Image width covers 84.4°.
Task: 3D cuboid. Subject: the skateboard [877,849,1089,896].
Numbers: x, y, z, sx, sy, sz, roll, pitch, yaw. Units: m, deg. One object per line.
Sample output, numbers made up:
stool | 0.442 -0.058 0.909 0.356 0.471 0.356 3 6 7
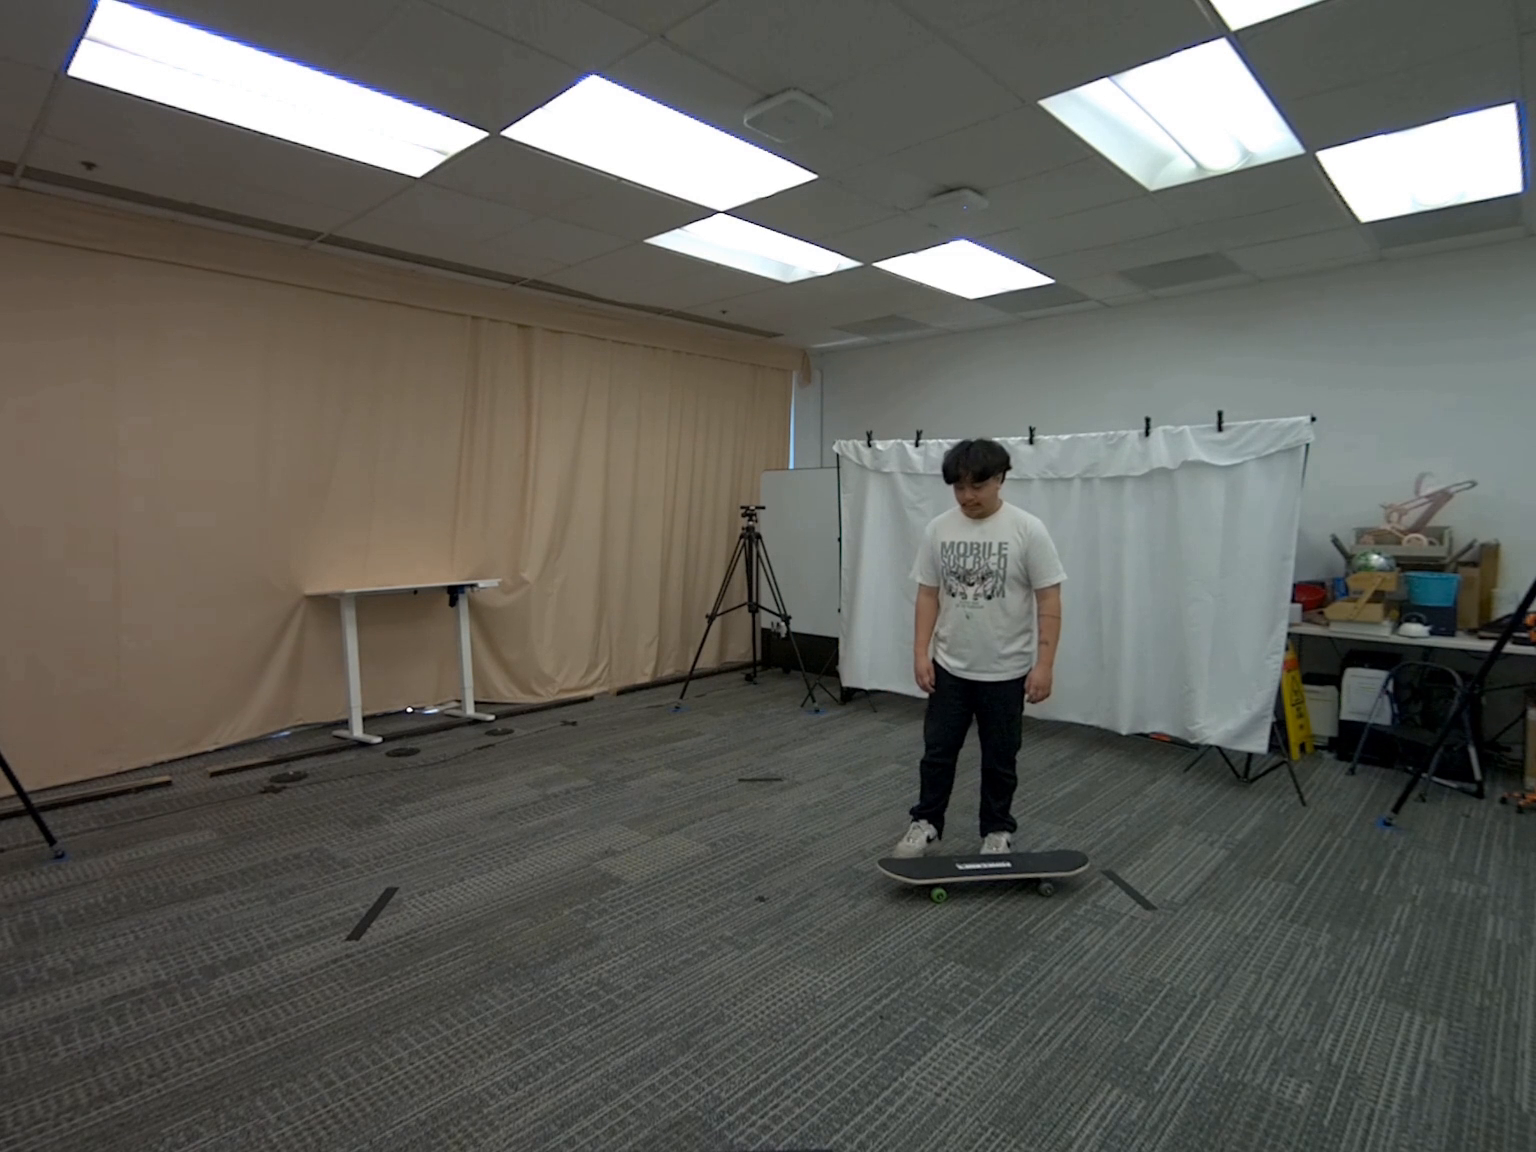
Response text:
skateboard | 0.779 1.077 3.049 0.780 0.110 0.195 0 4 -7
